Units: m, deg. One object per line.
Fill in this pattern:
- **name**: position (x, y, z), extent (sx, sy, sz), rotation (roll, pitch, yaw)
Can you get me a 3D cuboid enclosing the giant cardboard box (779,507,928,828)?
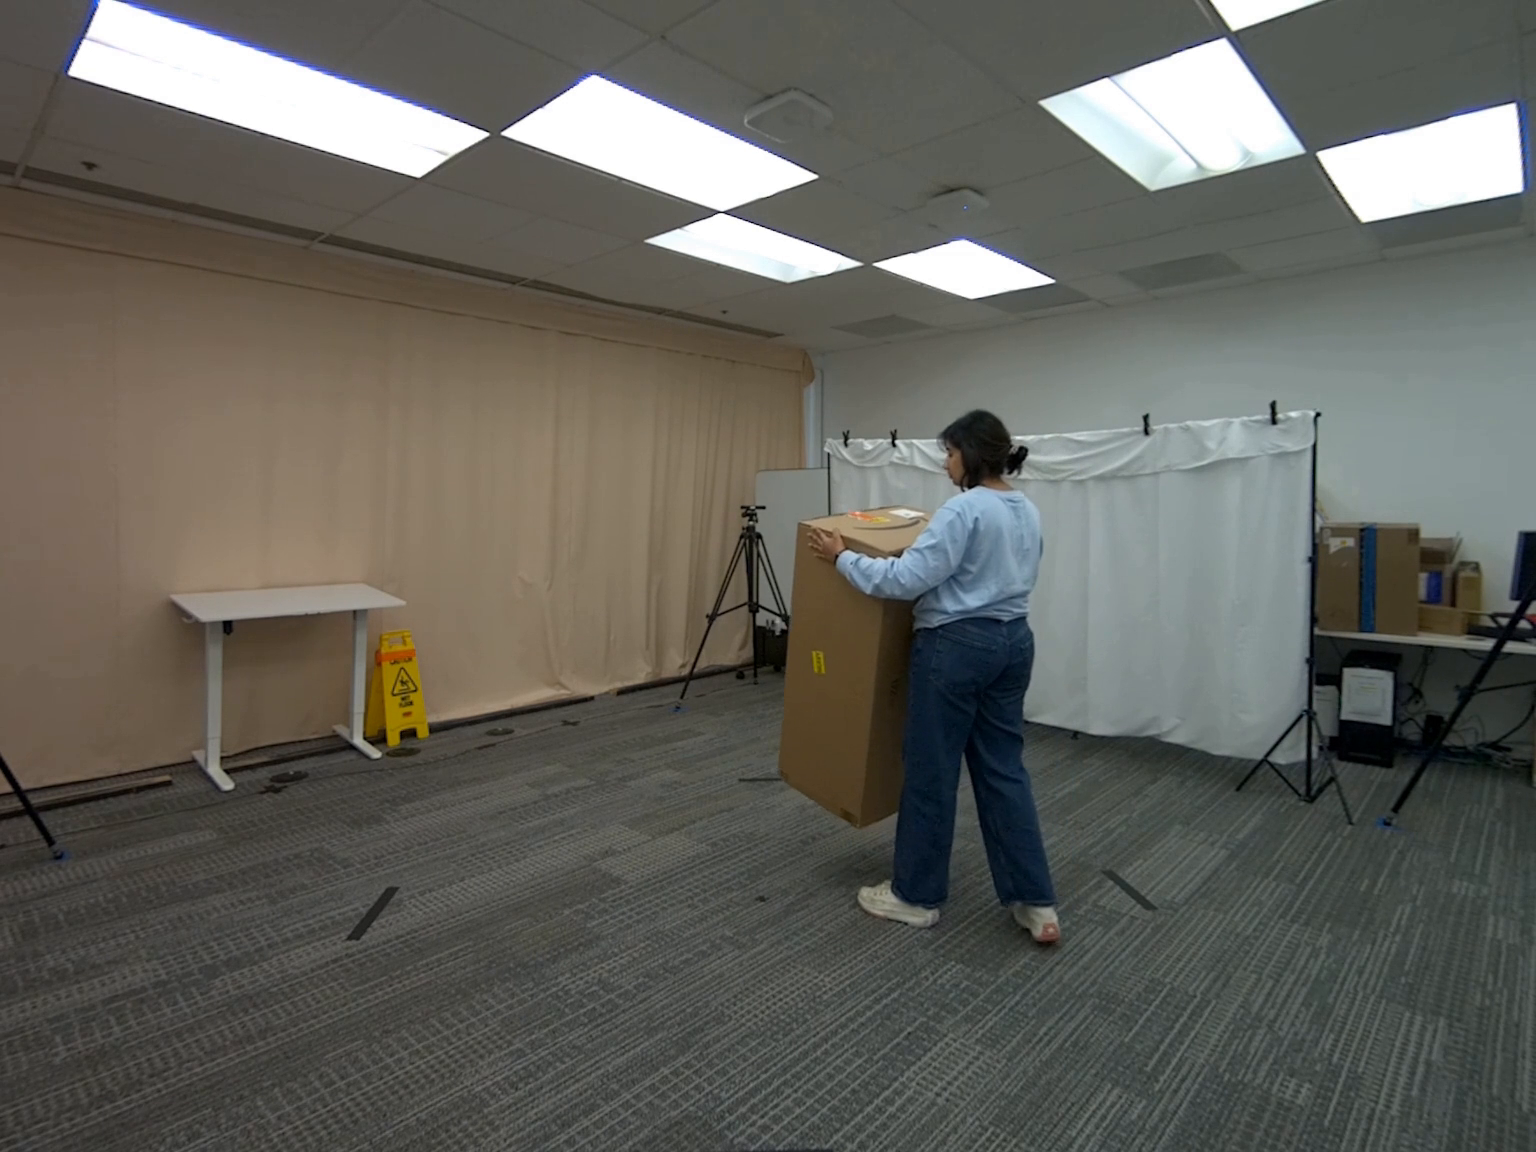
- **giant cardboard box**: position (0.416, 0.307, 3.131), extent (0.561, 1.017, 0.442), rotation (-10, 21, -40)
